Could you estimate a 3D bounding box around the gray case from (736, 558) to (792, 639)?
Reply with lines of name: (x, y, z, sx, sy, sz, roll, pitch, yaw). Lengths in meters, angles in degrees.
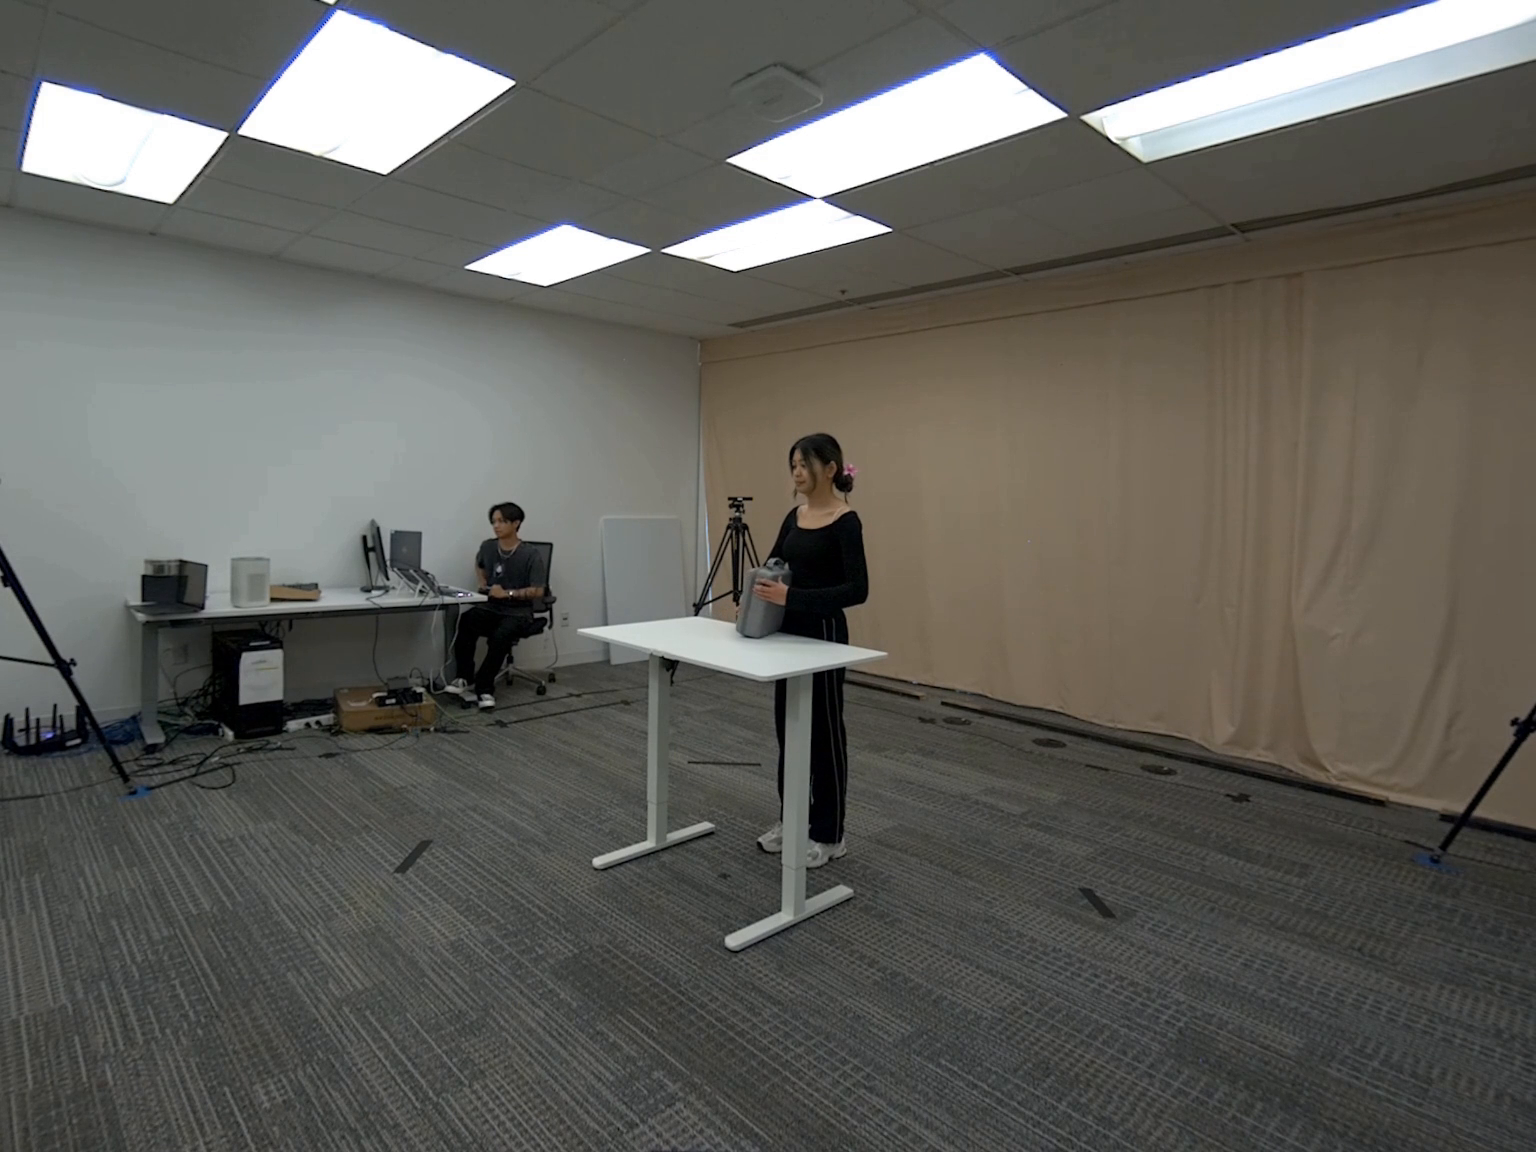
gray case: (-0.014, 0.091, 3.158, 0.106, 0.259, 0.253, 15, 9, 20)
